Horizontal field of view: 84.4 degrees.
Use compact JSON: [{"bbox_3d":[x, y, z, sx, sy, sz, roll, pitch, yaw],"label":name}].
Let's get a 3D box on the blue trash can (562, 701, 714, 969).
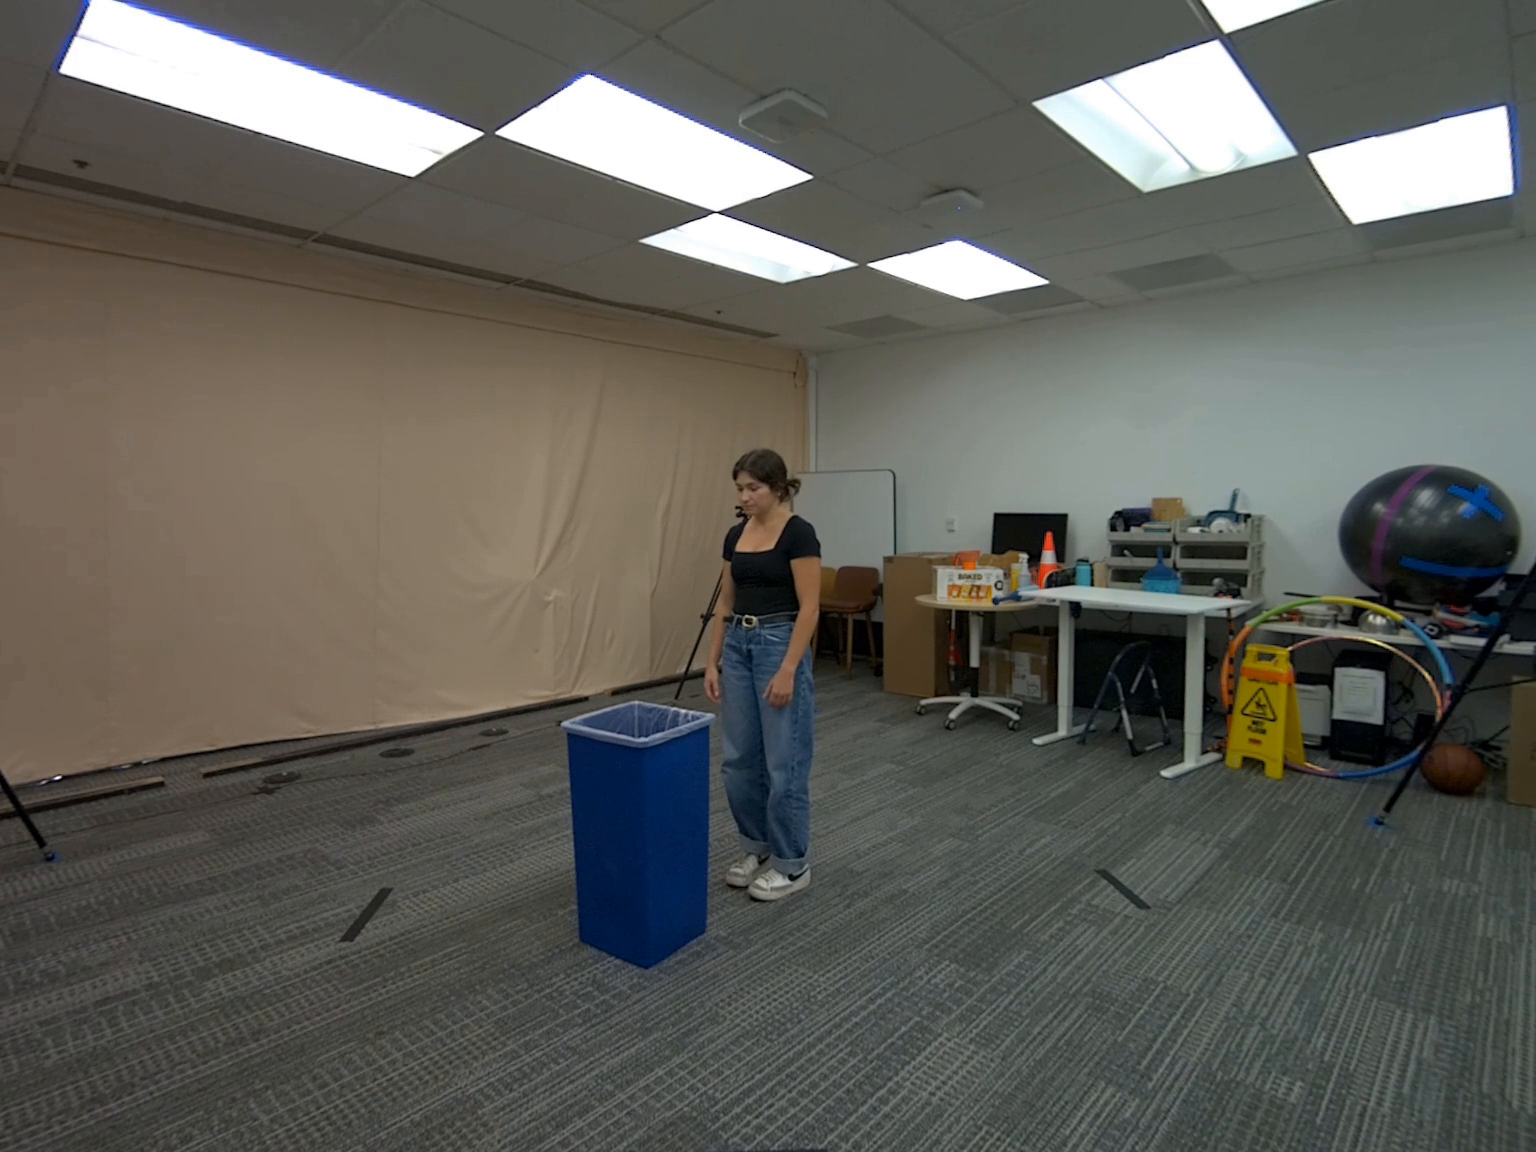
[{"bbox_3d":[-0.411,0.813,2.706,0.390,0.712,0.363,2,3,35],"label":"blue trash can"}]
